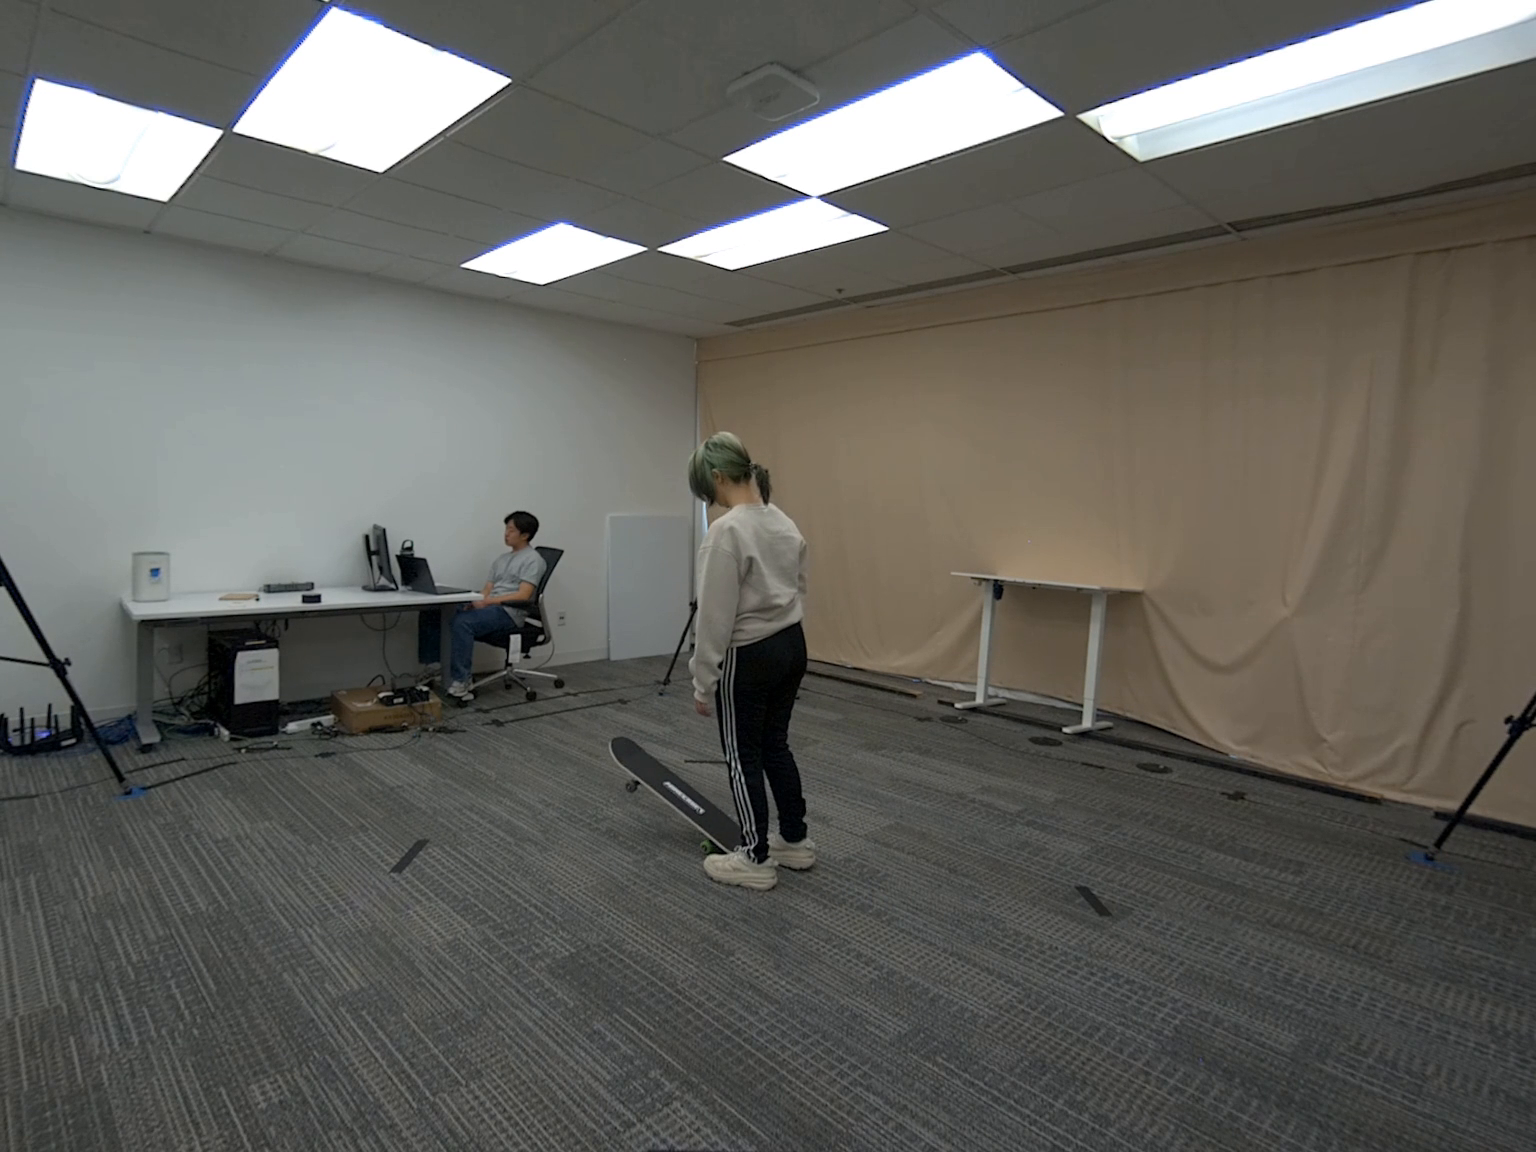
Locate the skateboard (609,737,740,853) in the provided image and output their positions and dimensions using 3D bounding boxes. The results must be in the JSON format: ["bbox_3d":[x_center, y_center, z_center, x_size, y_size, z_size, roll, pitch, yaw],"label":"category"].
[{"bbox_3d":[-0.369,0.931,3.430,0.803,0.110,0.190,33,17,22],"label":"skateboard"}]
